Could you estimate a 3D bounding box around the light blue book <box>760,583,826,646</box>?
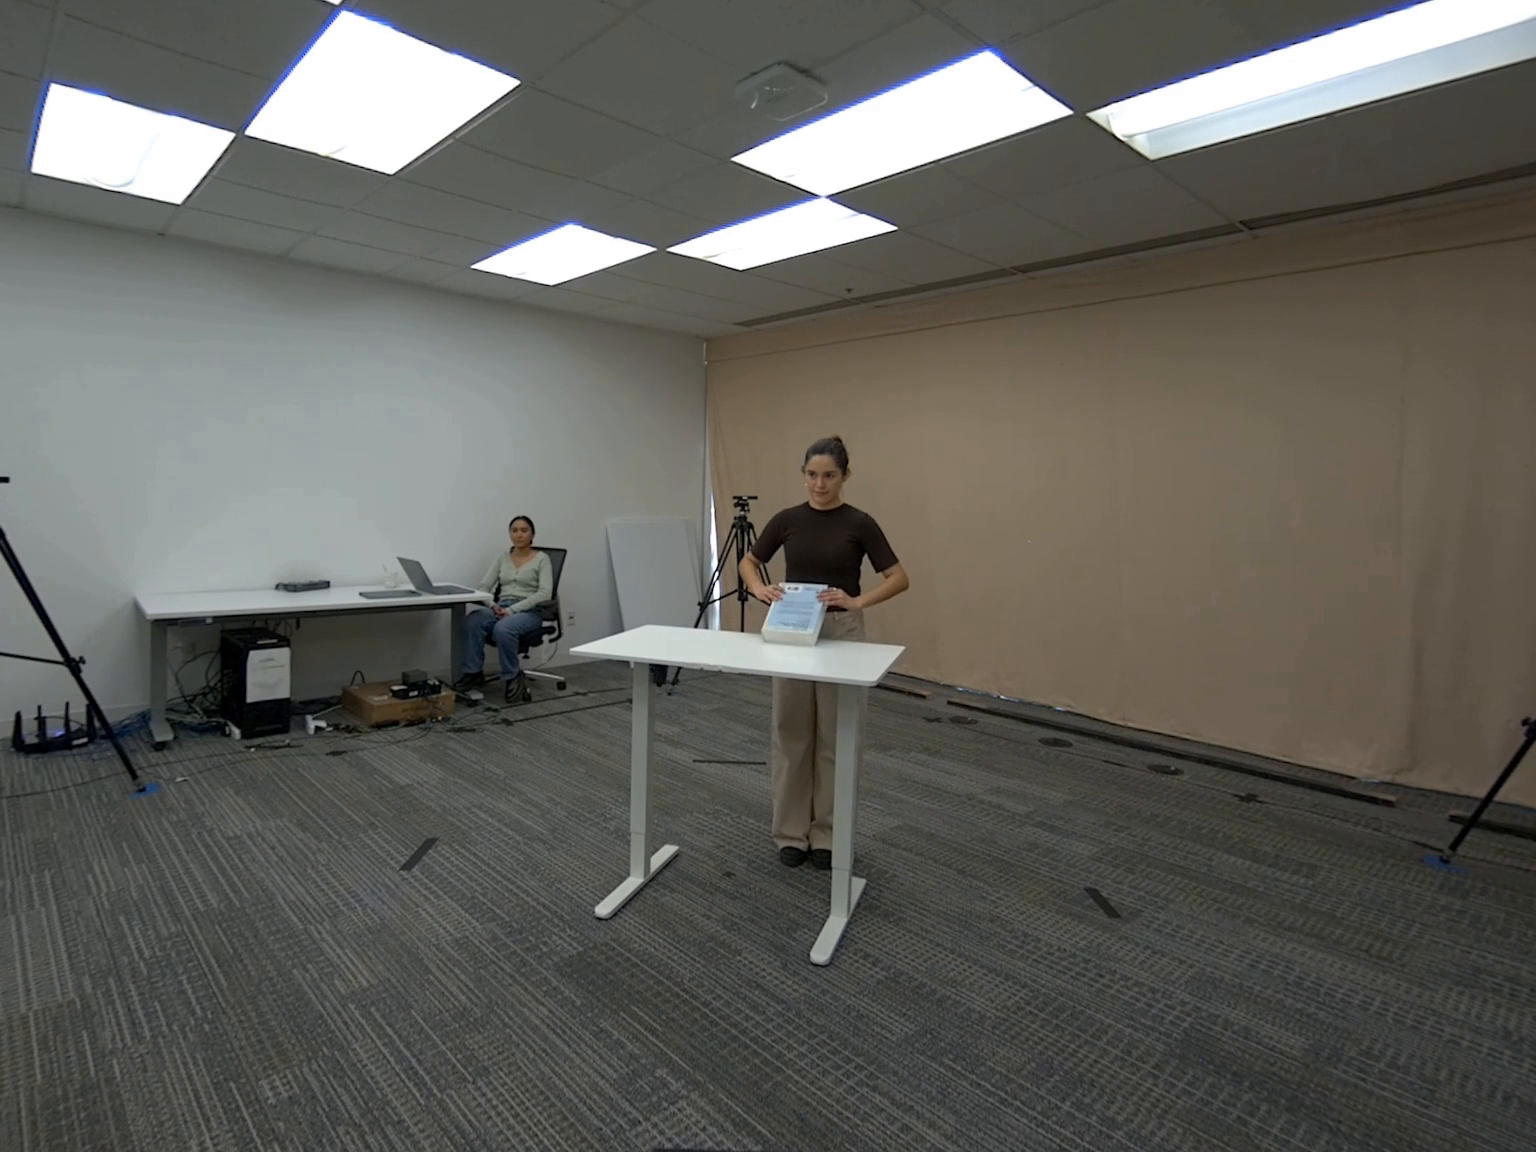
[{"bbox_3d":[0.099,0.137,3.021,0.194,0.057,0.263,4,41,18],"label":"light blue book"}]
